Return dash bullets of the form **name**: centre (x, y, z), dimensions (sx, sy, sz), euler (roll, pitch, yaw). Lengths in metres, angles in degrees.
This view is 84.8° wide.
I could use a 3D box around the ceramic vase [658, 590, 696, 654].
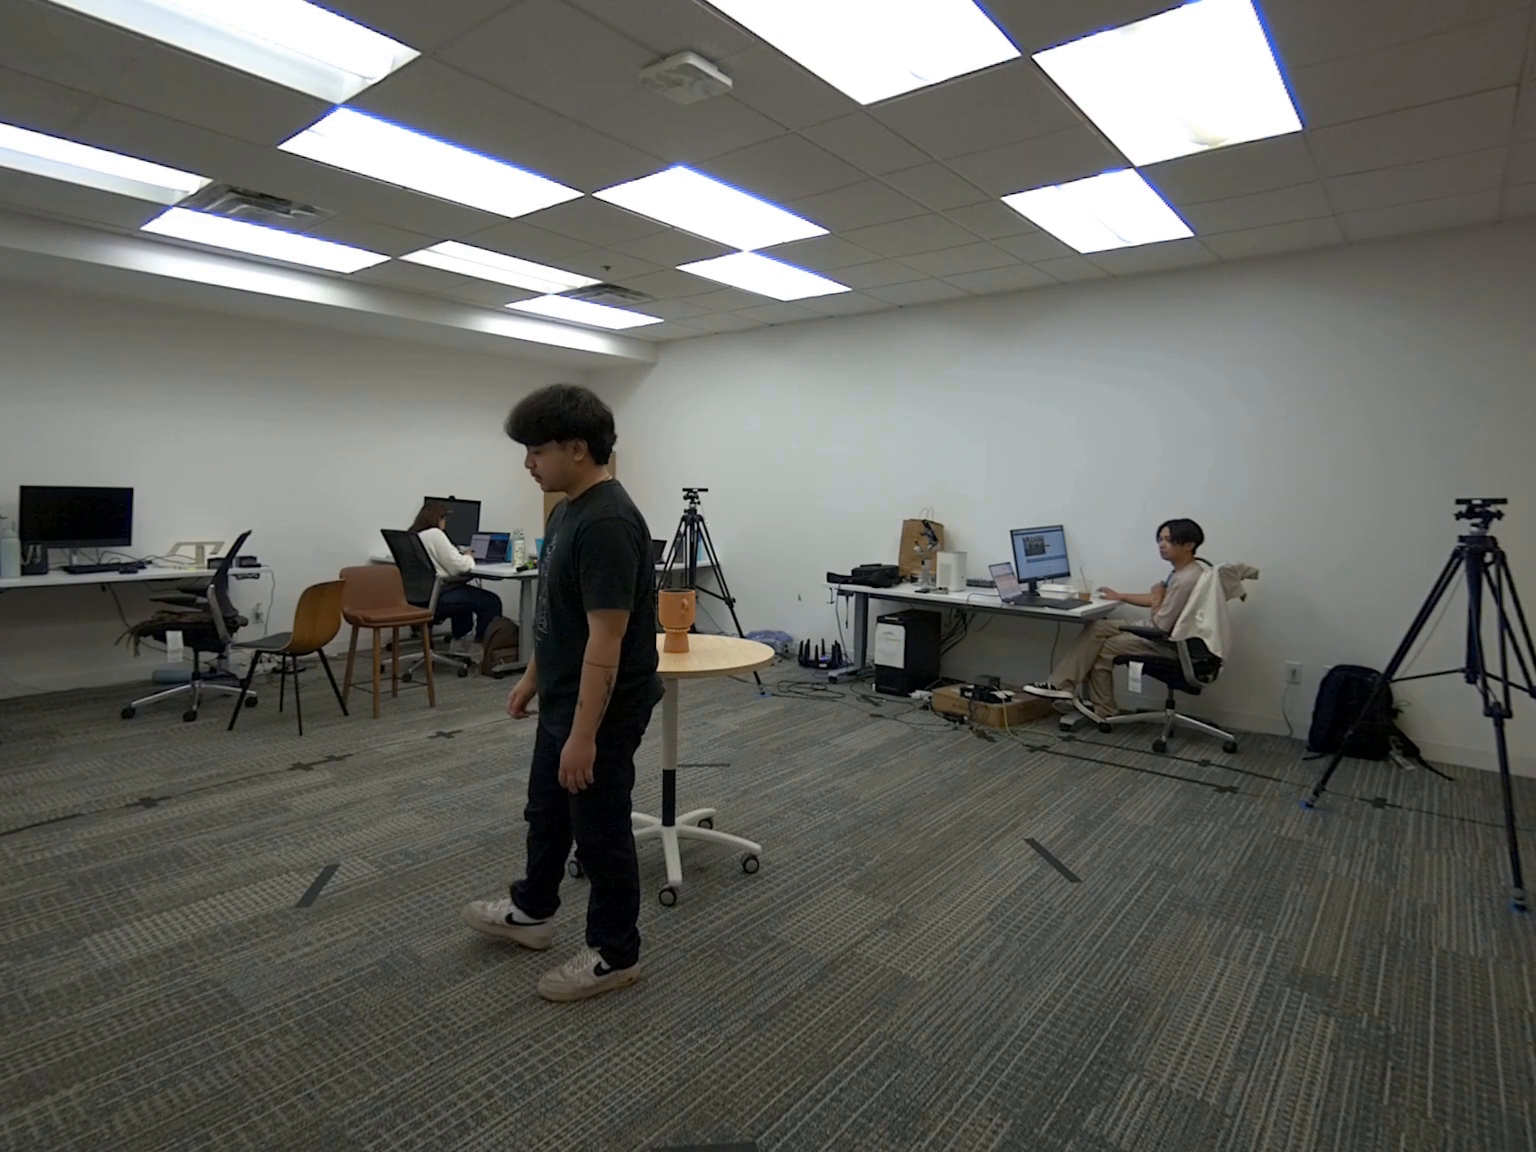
- **ceramic vase**: centre (-0.348, 0.163, 3.119), dimensions (0.136, 0.219, 0.157), euler (1, 3, 12)
